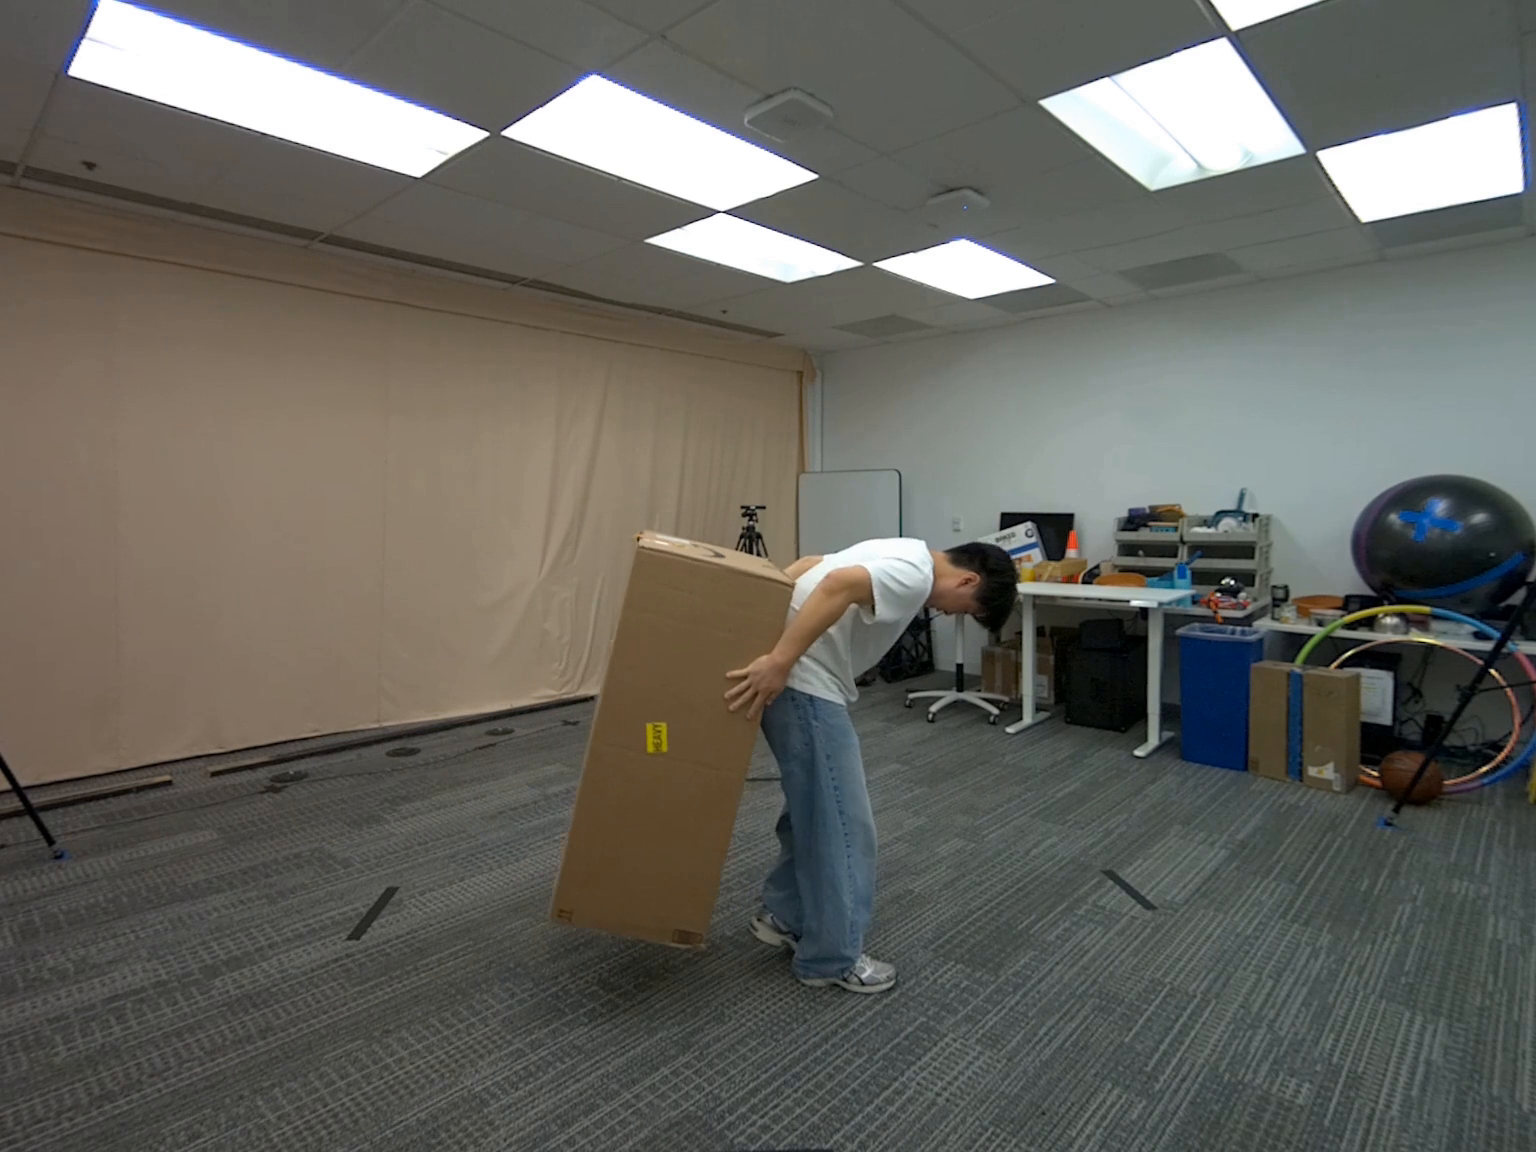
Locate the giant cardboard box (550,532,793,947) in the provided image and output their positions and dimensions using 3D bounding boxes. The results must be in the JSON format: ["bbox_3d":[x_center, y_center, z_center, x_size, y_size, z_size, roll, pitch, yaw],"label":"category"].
[{"bbox_3d":[-0.287,0.436,2.465,0.423,1.024,0.583,13,4,-7],"label":"giant cardboard box"}]
